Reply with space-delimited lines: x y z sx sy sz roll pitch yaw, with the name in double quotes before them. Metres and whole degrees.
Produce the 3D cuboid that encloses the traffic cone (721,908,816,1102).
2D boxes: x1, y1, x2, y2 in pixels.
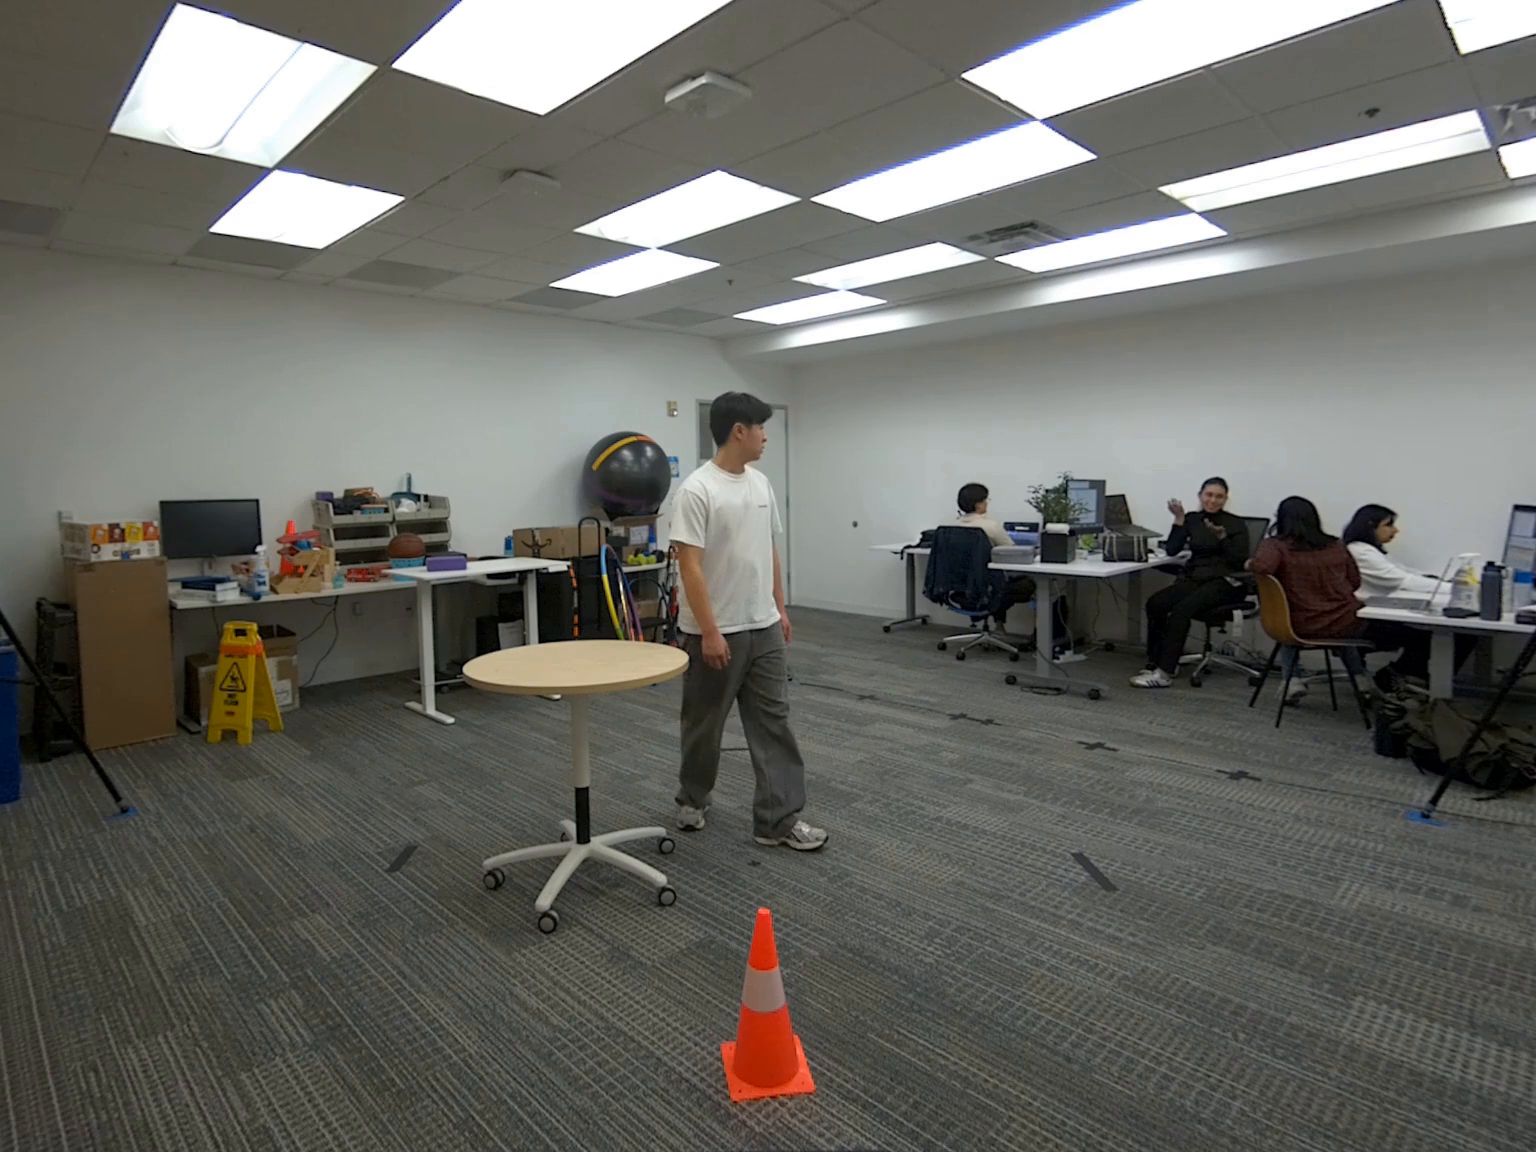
"traffic cone" -0.002 0.996 2.021 0.201 0.382 0.208 -3 4 -11
